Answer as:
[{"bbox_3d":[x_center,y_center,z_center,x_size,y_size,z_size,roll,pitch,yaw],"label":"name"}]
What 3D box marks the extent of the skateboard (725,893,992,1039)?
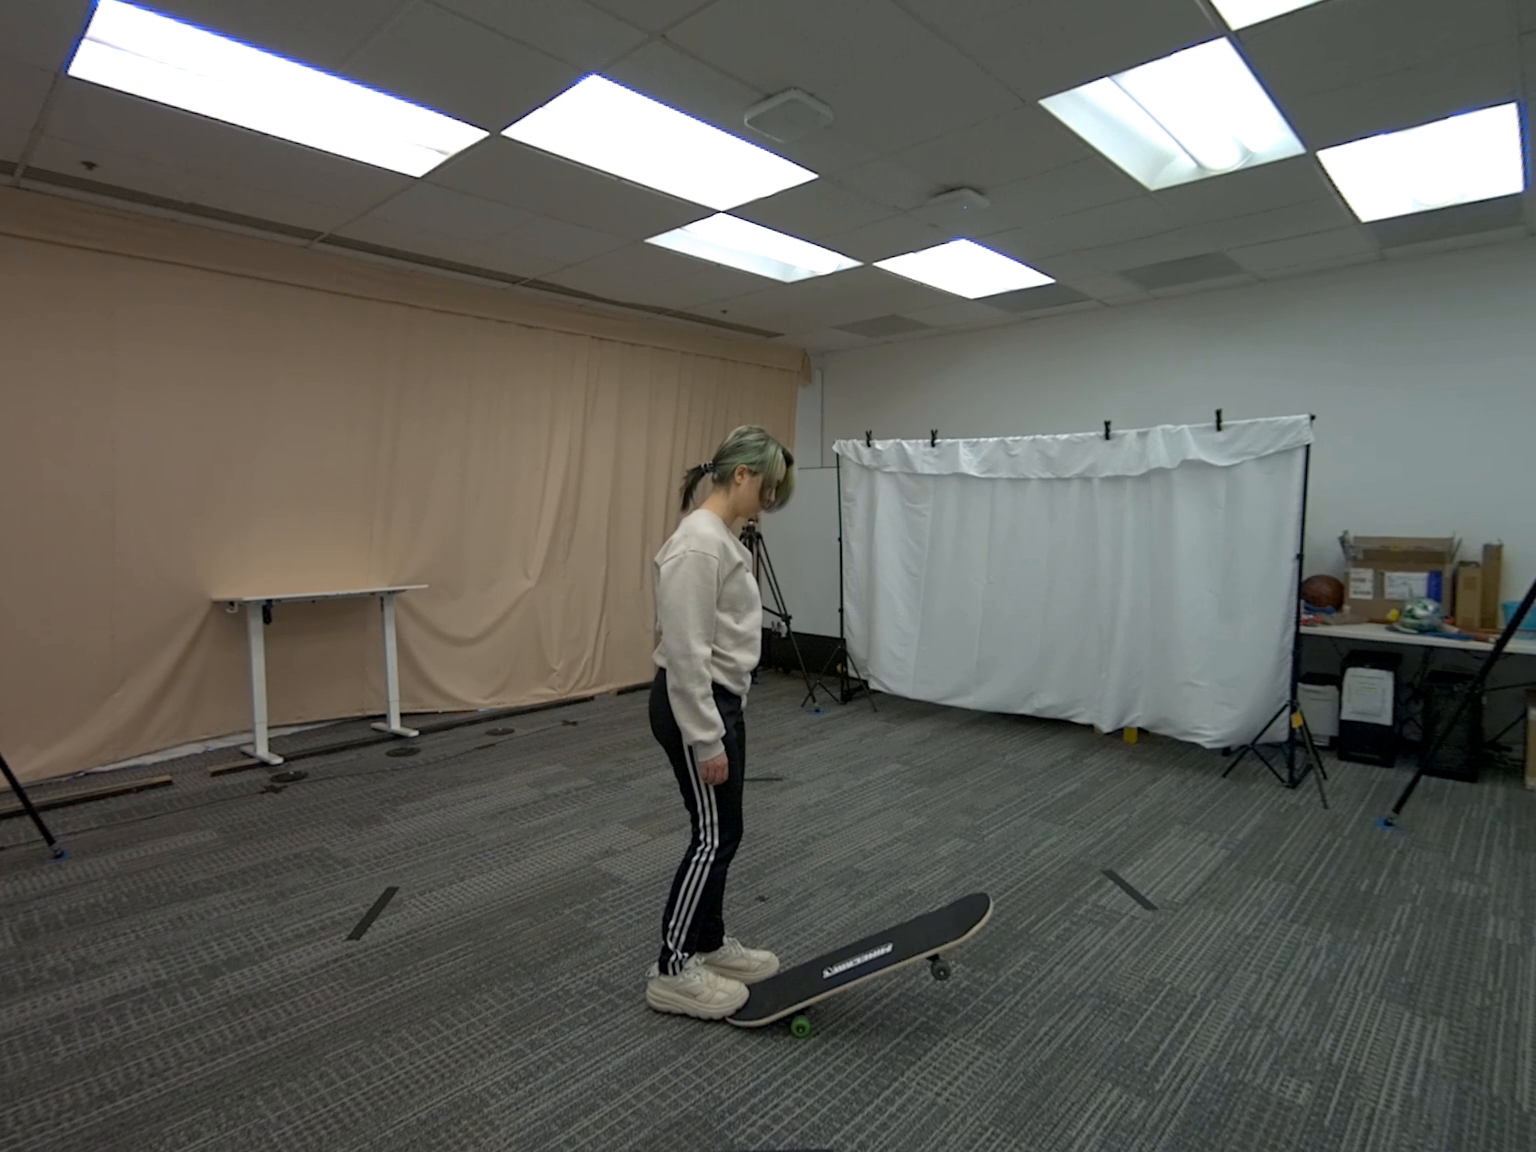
[{"bbox_3d":[0.266,1.073,2.257,0.789,0.110,0.193,-25,3,7],"label":"skateboard"}]
